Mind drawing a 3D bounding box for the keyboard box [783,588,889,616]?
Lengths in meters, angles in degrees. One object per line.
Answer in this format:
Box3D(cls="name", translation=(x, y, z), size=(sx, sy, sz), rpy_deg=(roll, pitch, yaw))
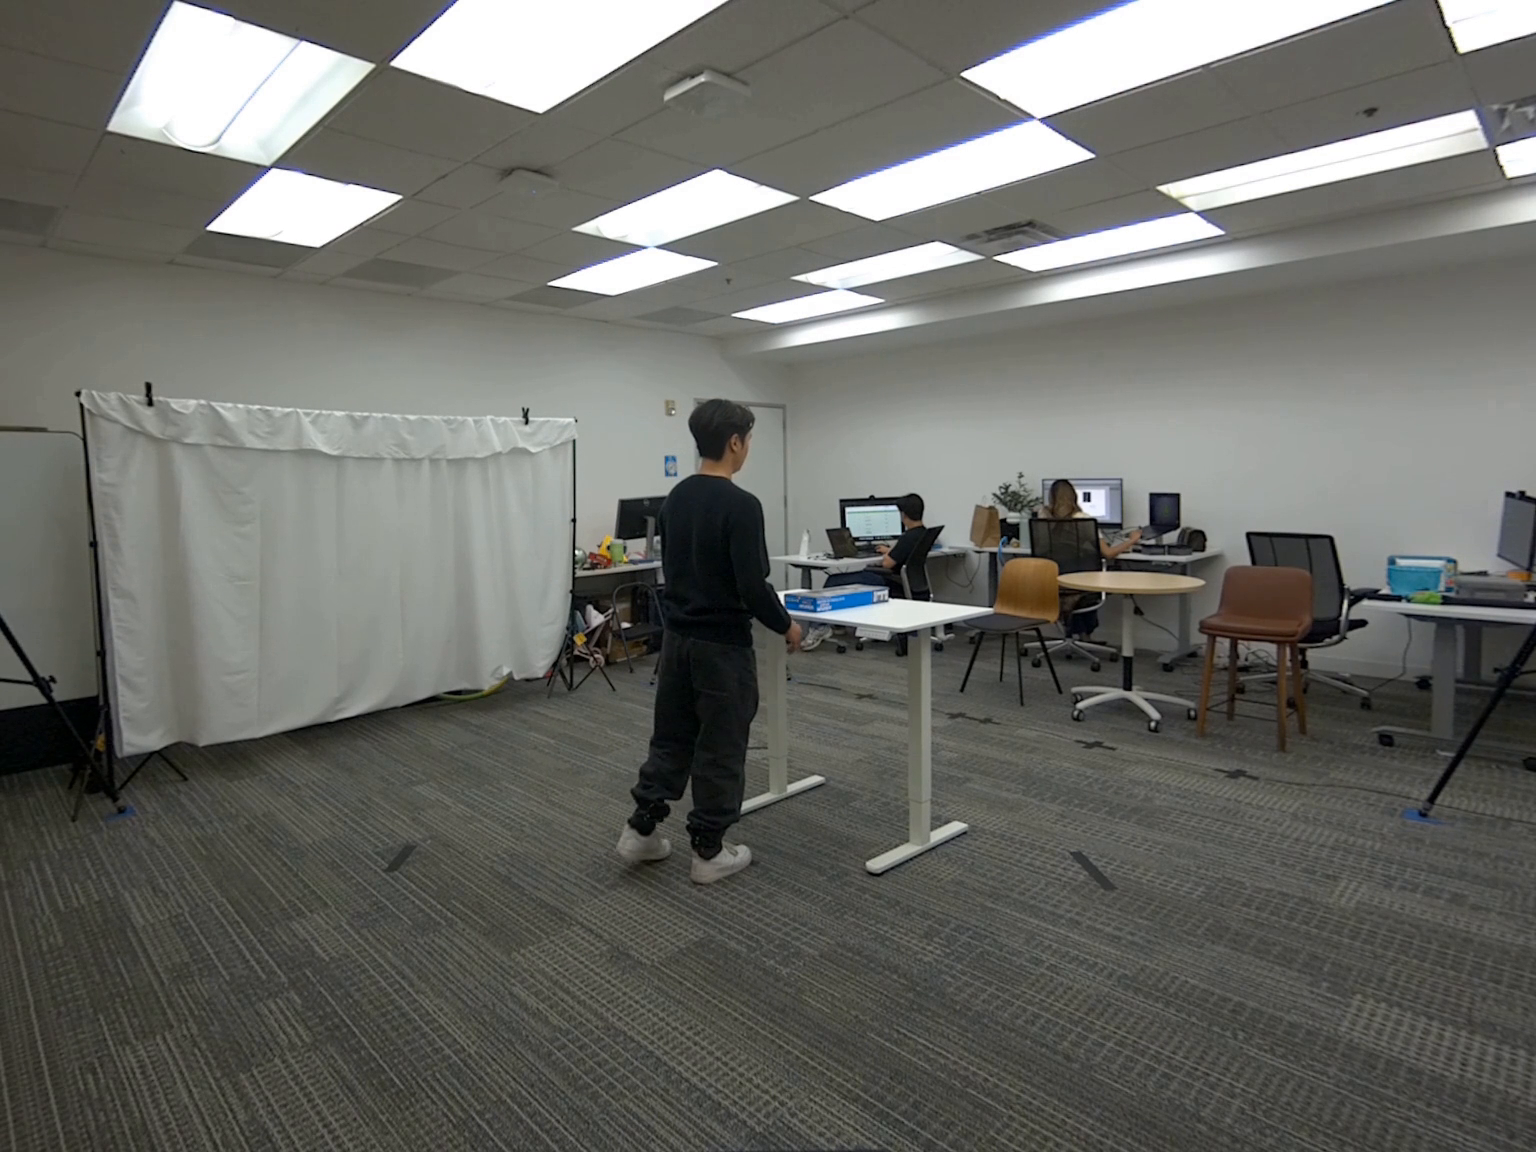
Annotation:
Box3D(cls="keyboard box", translation=(0.286, 0.089, 3.420), size=(0.425, 0.059, 0.181), rpy_deg=(-7, 8, -41))
